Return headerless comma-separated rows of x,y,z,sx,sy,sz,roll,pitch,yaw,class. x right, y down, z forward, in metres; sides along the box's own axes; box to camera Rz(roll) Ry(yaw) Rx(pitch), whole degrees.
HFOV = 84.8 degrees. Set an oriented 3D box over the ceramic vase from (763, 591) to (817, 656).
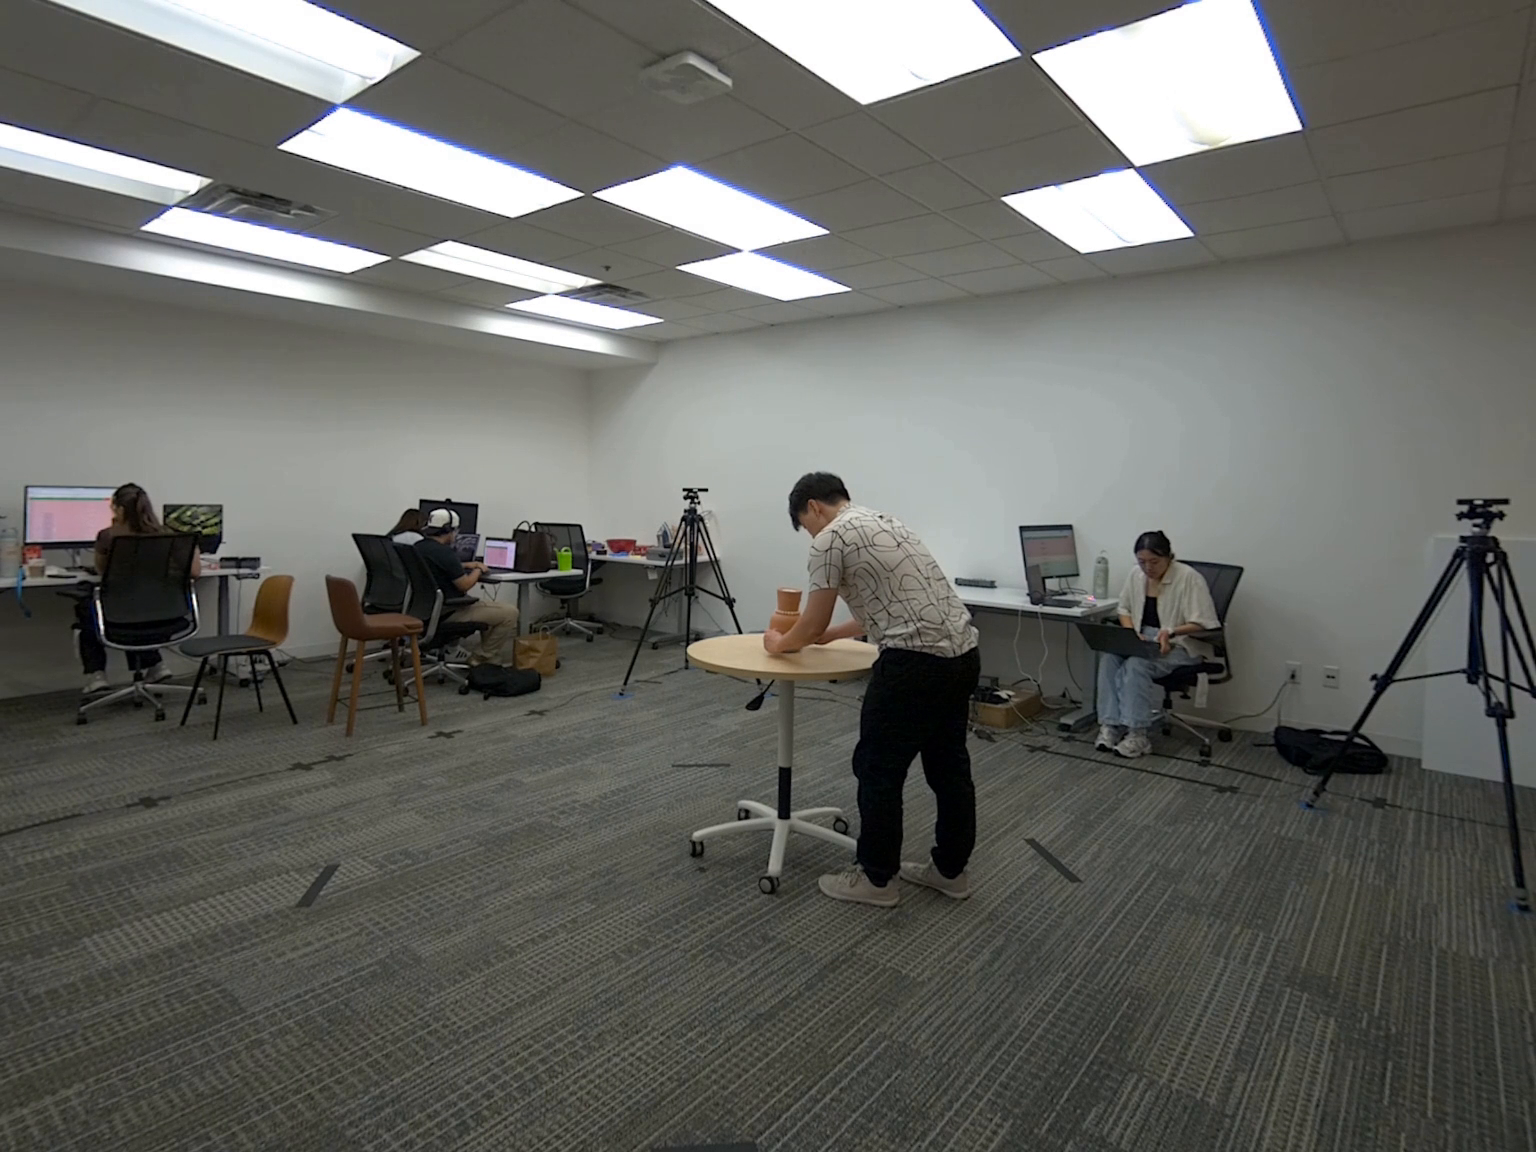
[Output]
0.071,0.161,3.229,0.135,0.219,0.159,6,6,1,ceramic vase
